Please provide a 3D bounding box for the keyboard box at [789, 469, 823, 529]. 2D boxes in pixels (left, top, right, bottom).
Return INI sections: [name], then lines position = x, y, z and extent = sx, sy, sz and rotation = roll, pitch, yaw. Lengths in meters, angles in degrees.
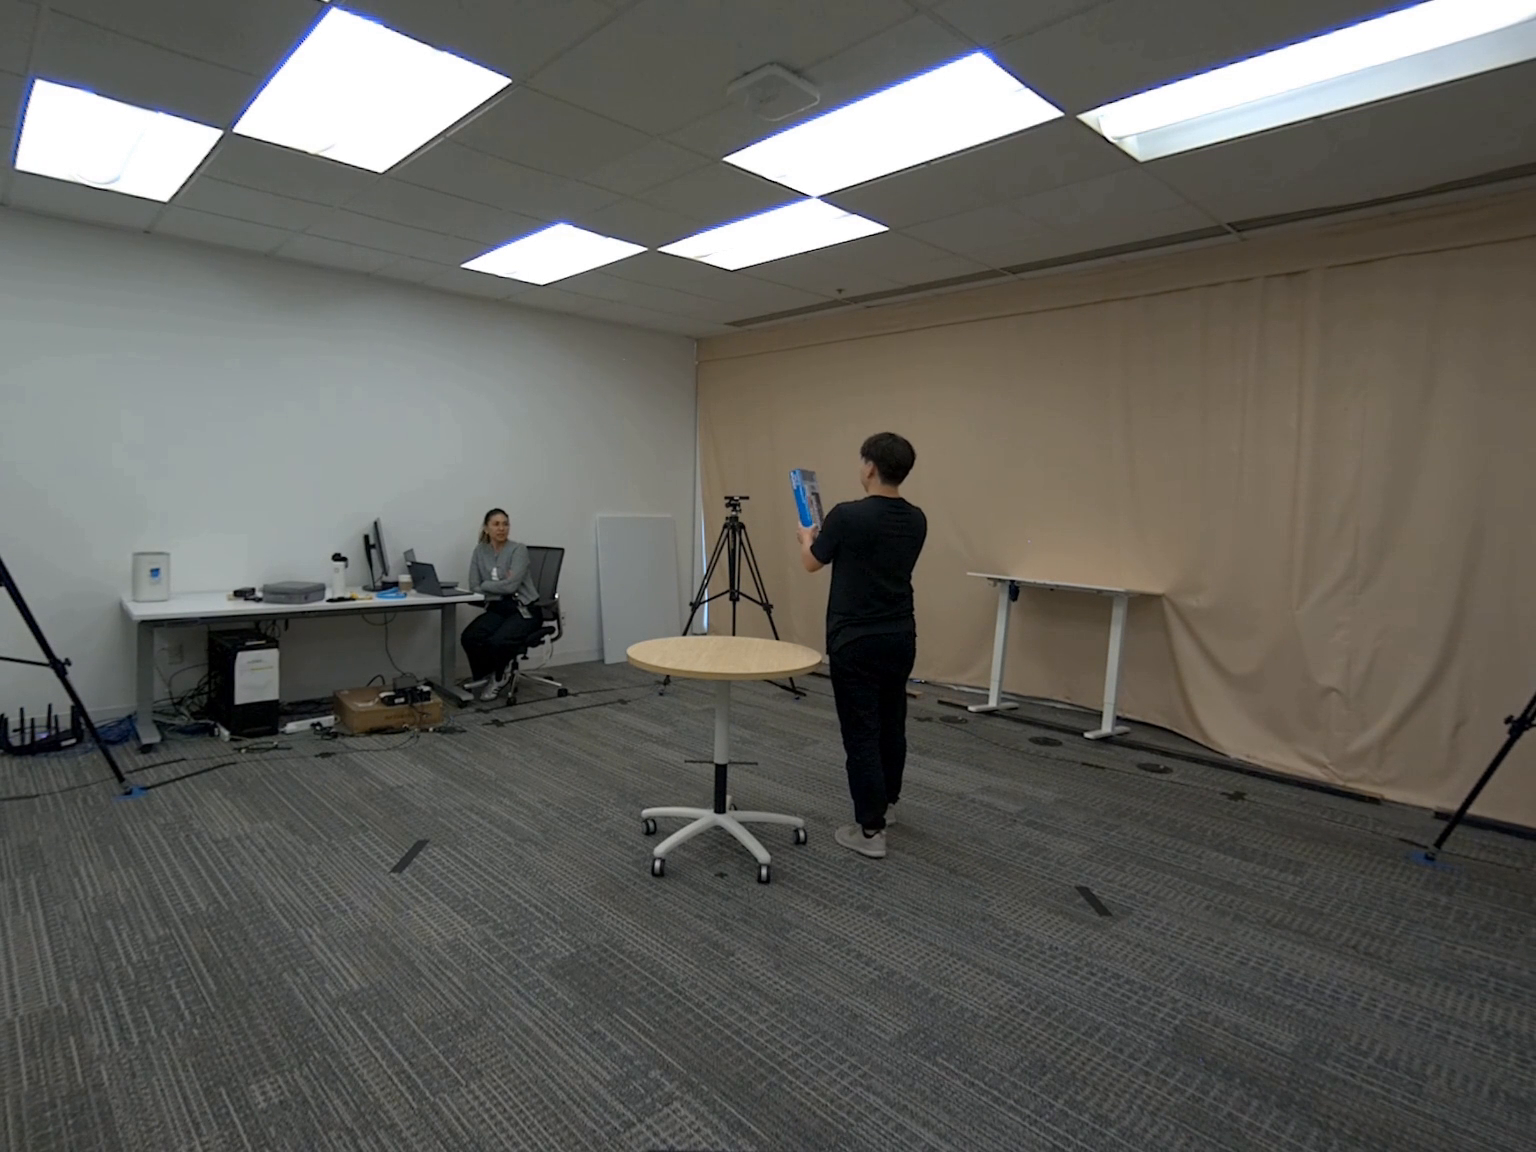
[keyboard box]
position = 0.202, -0.271, 3.853
extent = 0.060, 0.439, 0.172
rotation = -15, -7, 26
